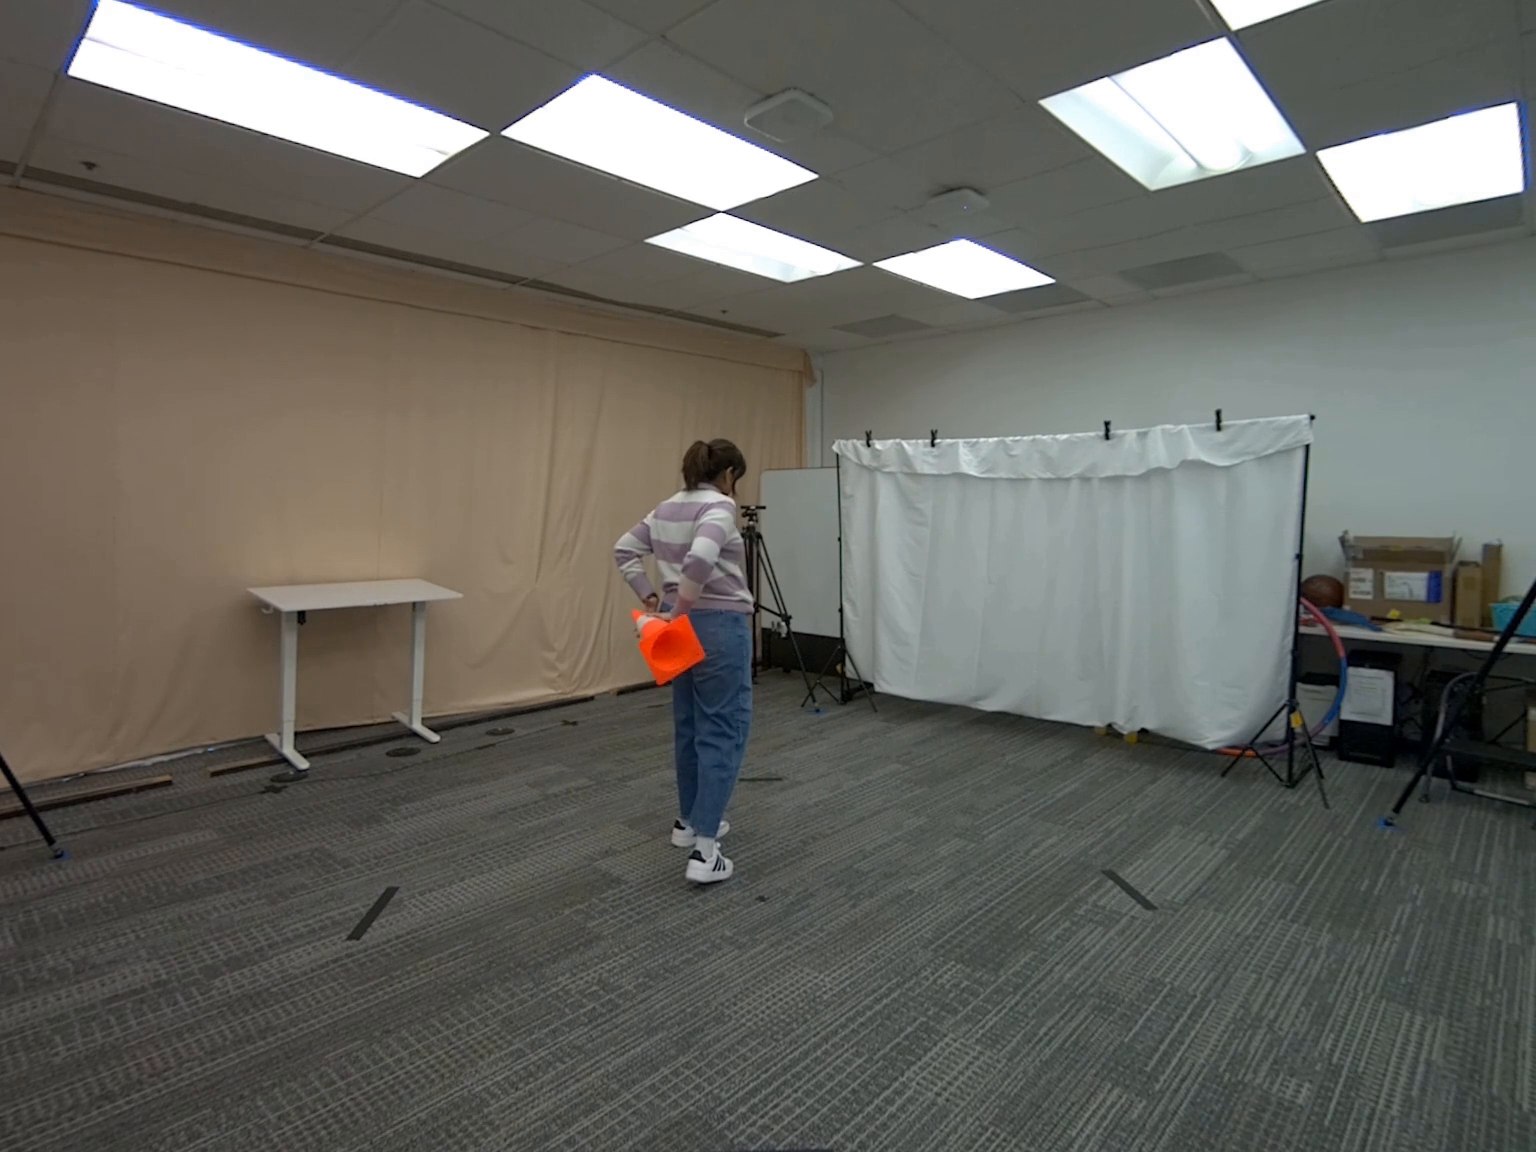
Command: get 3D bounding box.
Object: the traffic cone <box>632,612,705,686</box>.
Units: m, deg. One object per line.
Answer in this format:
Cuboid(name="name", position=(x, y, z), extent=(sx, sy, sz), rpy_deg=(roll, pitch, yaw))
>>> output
Cuboid(name="traffic cone", position=(-0.424, 0.196, 3.102), extent=(0.202, 0.199, 0.397), rpy_deg=(-36, 31, -15))
